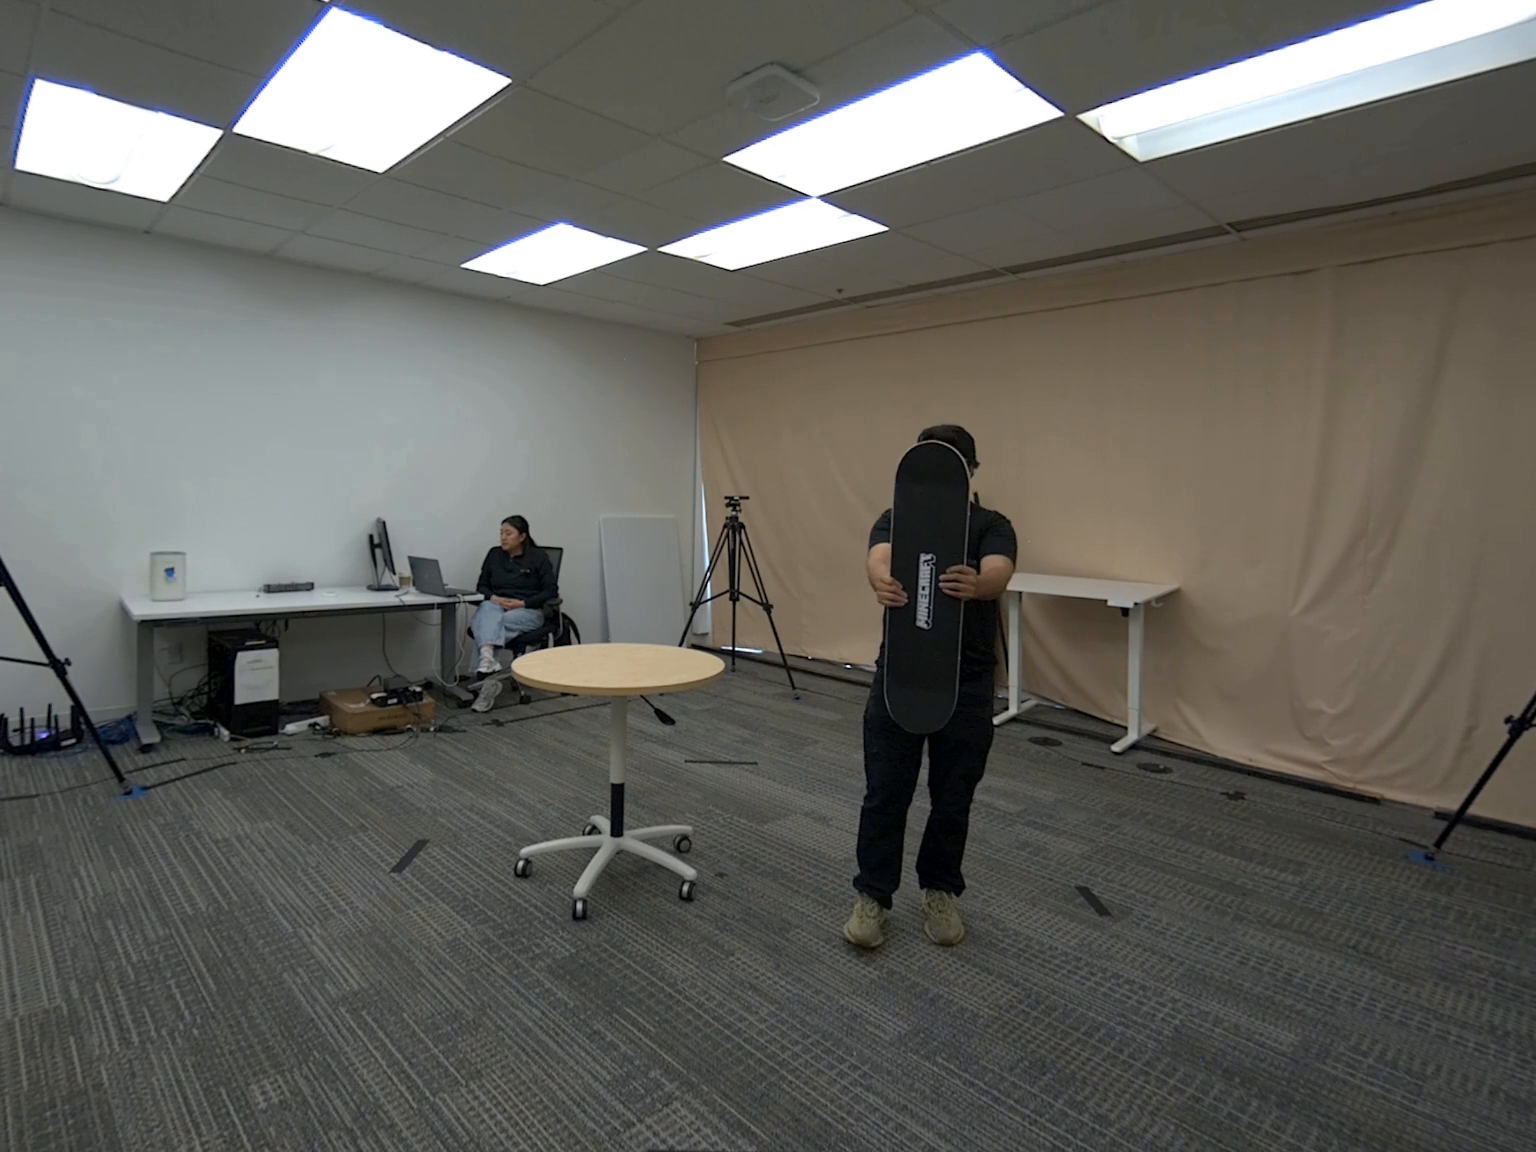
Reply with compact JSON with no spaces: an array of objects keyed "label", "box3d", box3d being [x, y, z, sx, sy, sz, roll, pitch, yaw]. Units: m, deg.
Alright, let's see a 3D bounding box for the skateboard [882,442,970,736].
[{"label":"skateboard","box3d":[0.421,0.038,2.242,0.196,0.779,0.109,5,11,17]}]
